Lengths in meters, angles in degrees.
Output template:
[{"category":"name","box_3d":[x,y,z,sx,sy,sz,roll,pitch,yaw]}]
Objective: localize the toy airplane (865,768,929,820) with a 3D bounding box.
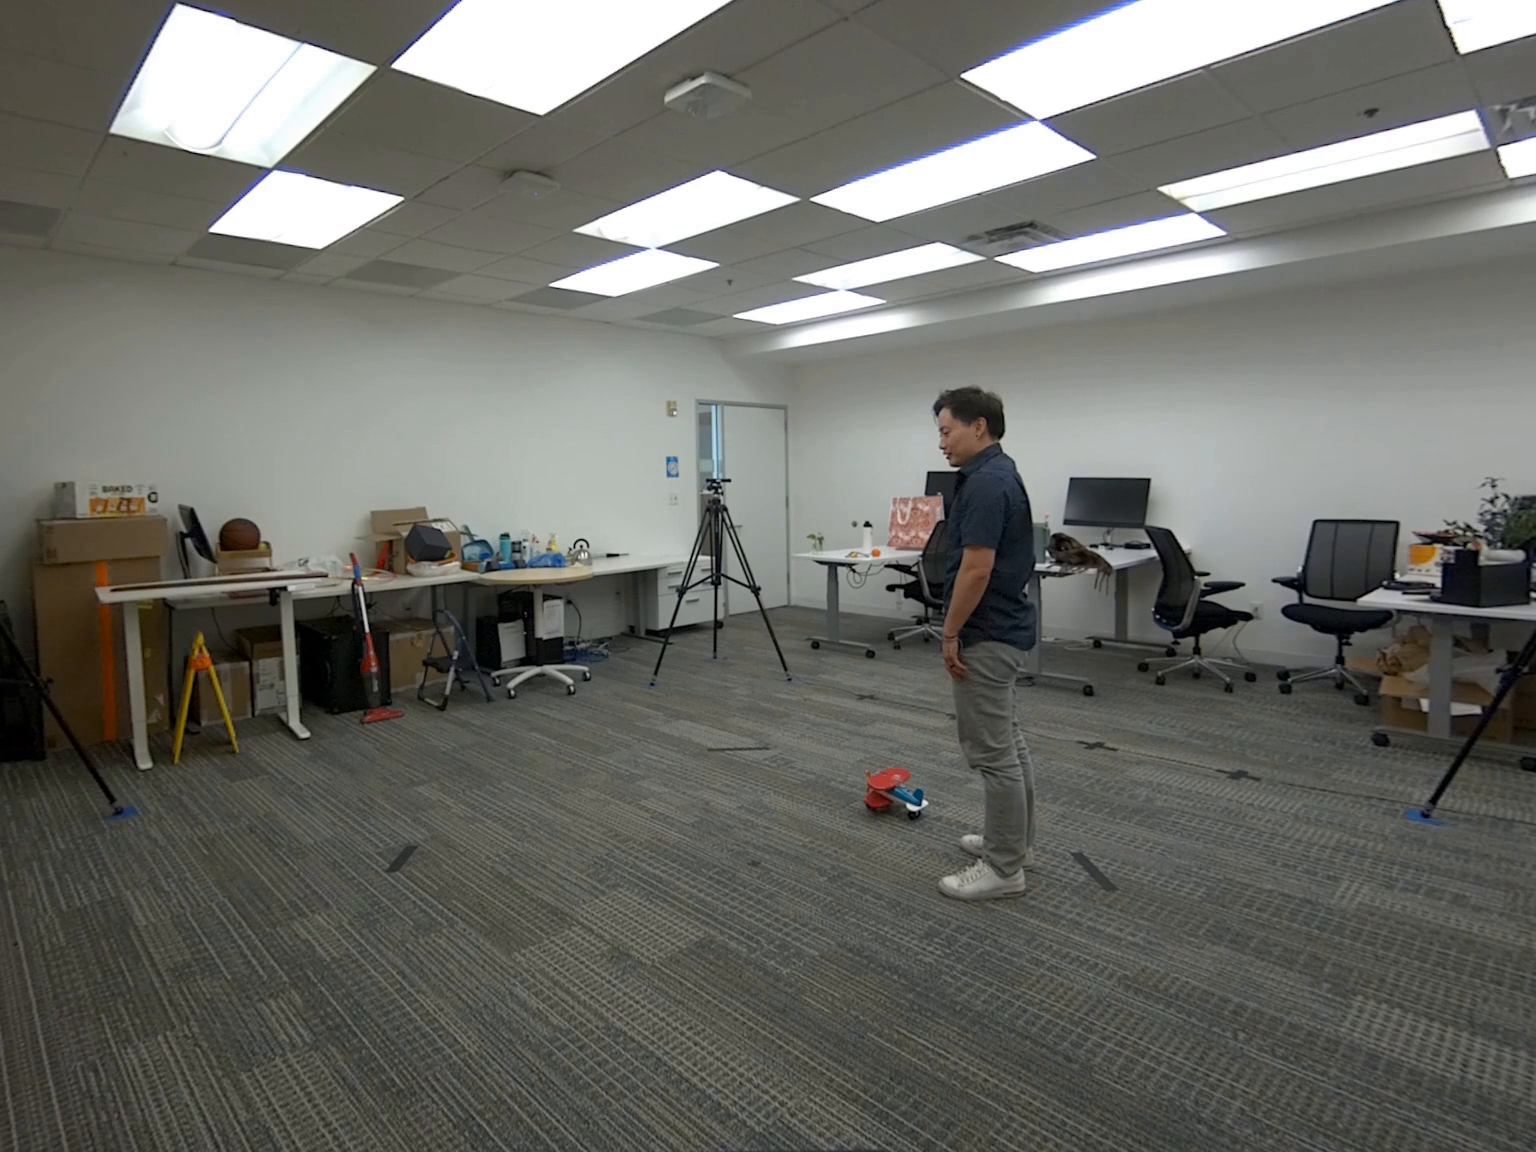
[{"category":"toy airplane","box_3d":[0.537,0.907,3.571,0.263,0.156,0.248,0,4,16]}]
